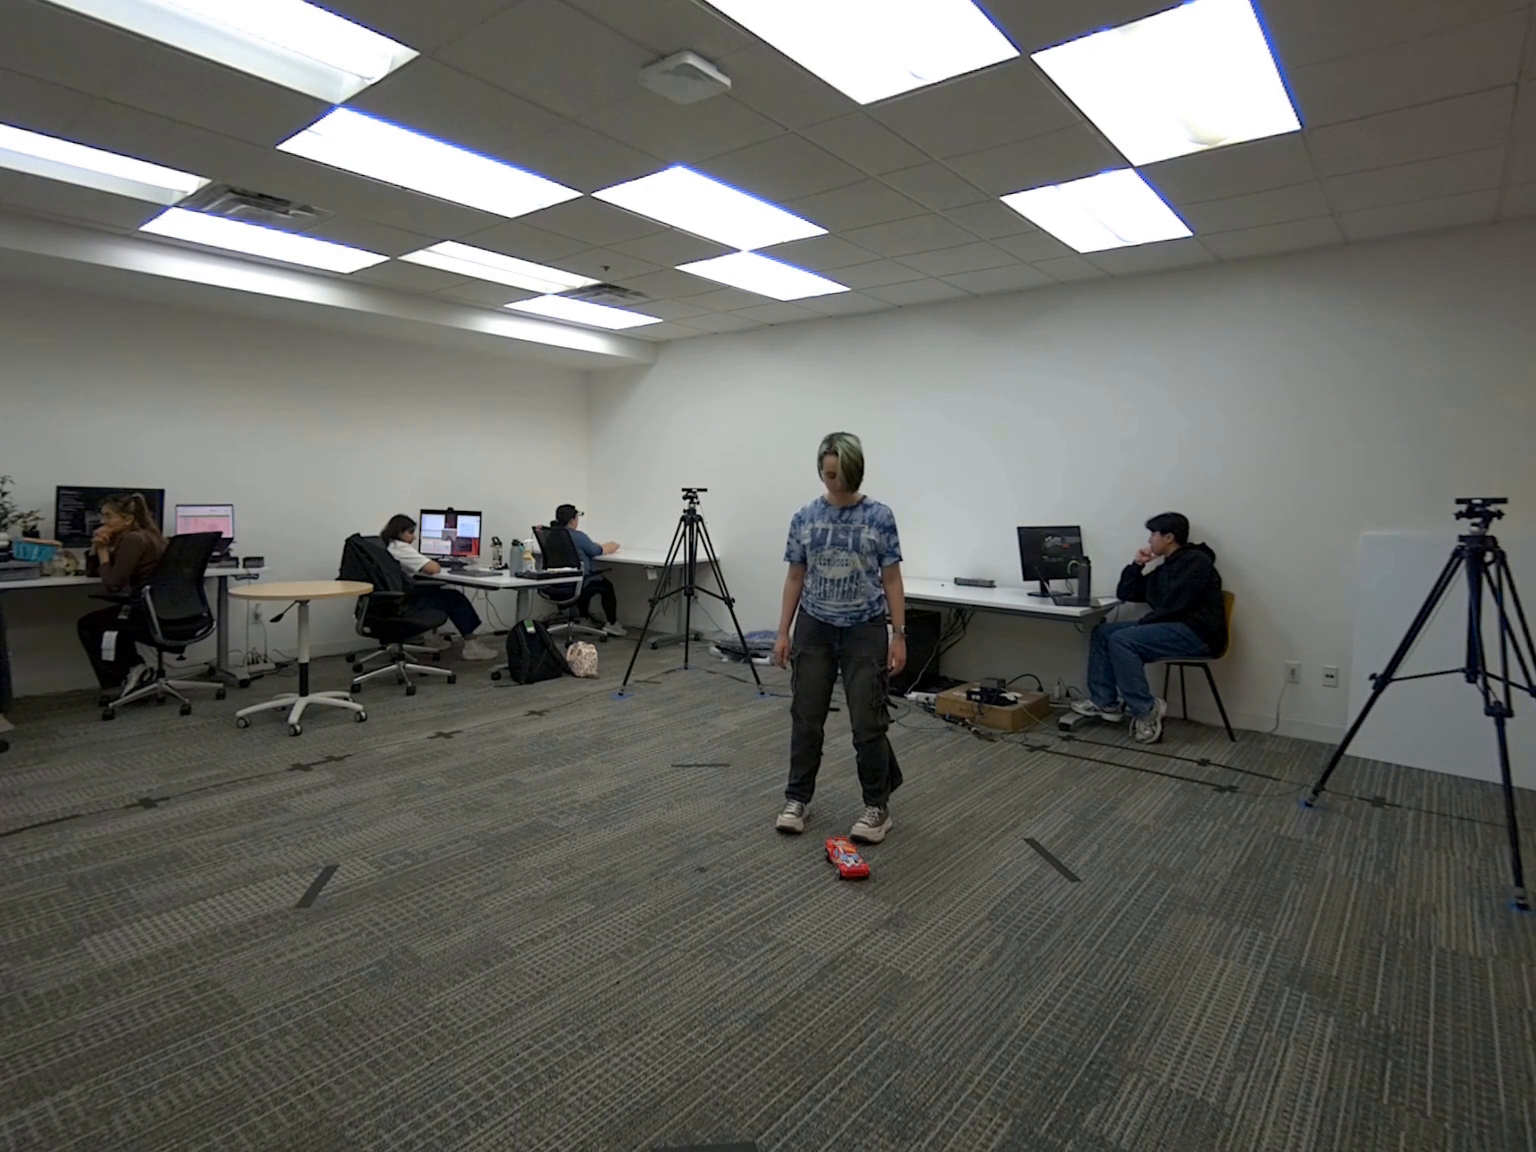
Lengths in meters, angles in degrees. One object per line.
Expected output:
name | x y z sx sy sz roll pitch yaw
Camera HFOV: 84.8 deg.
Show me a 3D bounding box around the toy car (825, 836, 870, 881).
toy car | 0.282 1.044 3.159 0.129 0.082 0.261 -1 17 -11
